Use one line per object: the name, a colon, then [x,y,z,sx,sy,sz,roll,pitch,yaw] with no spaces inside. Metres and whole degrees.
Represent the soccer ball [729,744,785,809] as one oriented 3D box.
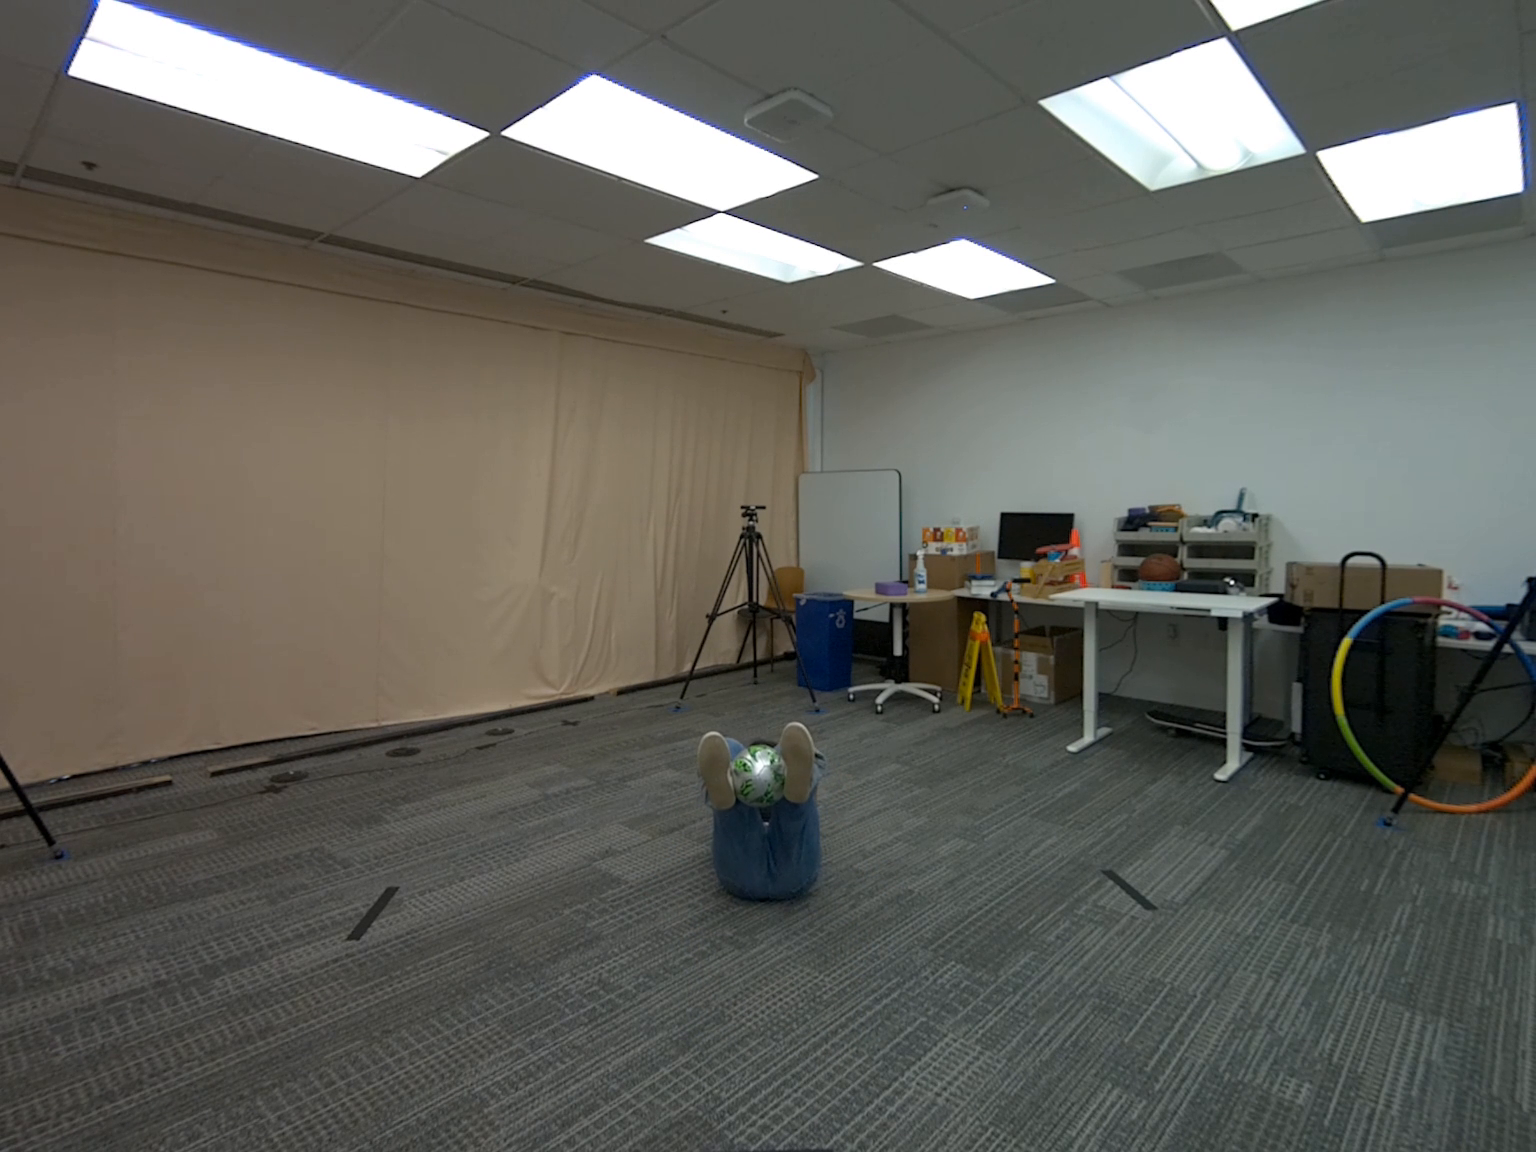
soccer ball: [-0.010,0.626,2.599,0.187,0.187,0.188,3,4,-2]
